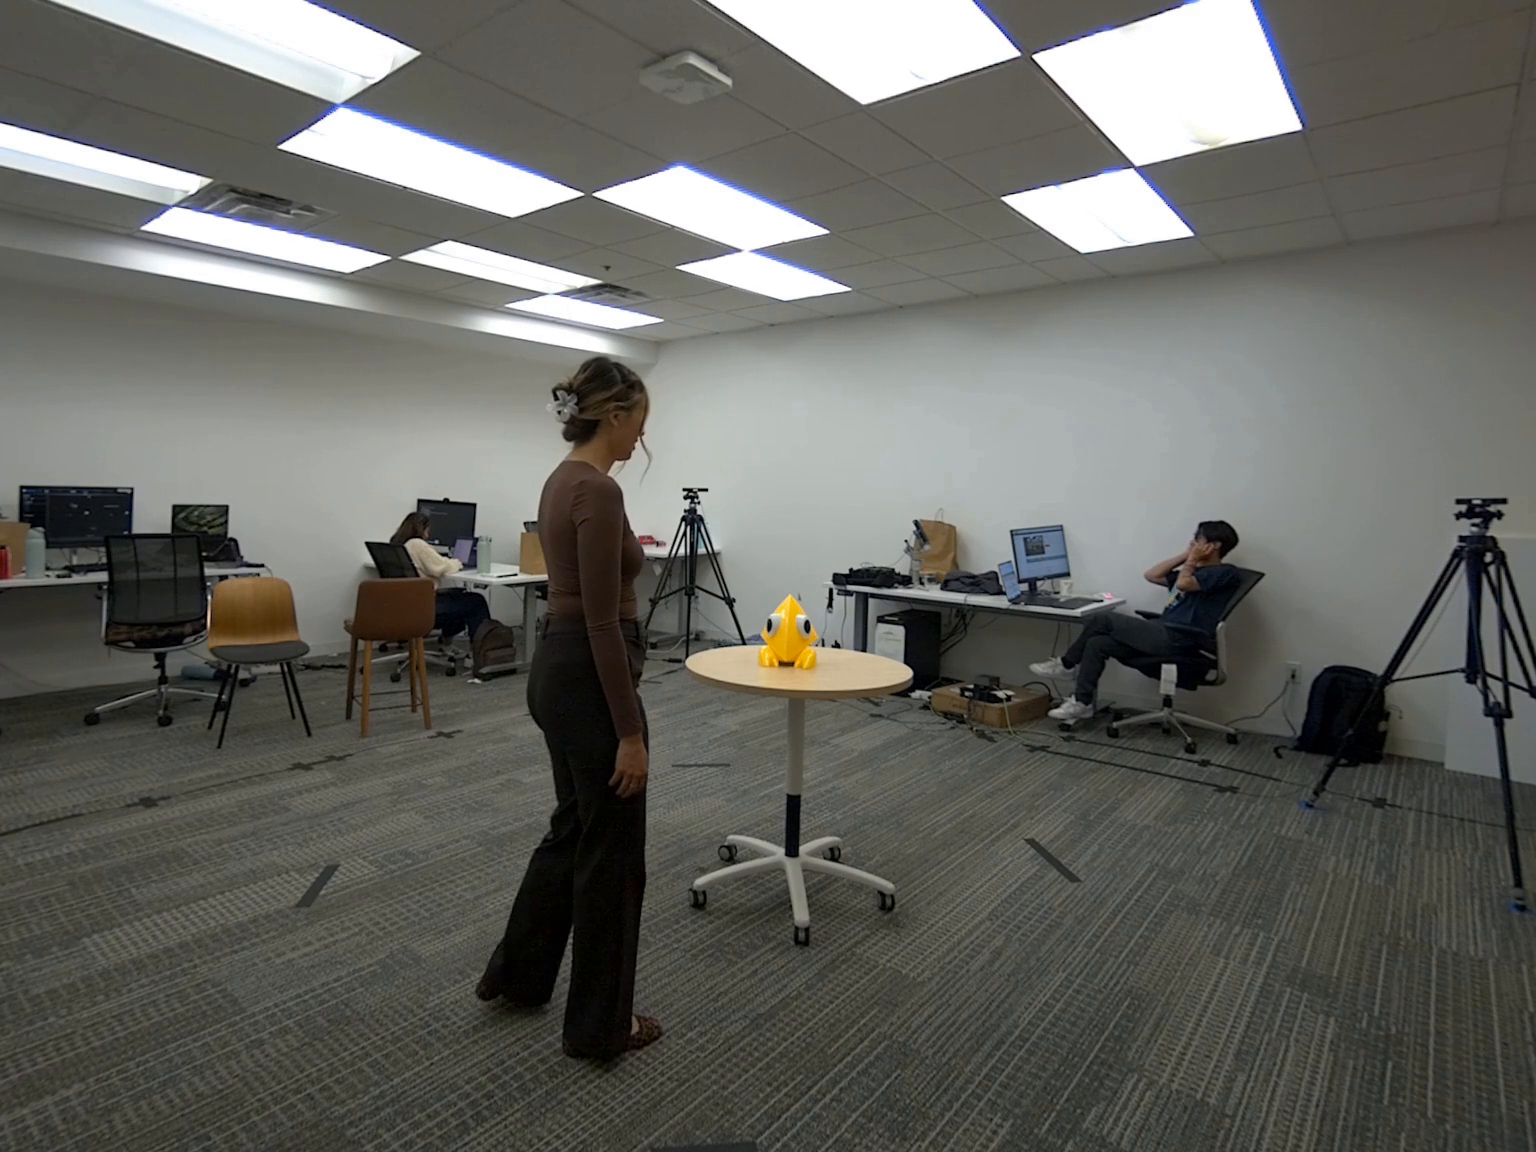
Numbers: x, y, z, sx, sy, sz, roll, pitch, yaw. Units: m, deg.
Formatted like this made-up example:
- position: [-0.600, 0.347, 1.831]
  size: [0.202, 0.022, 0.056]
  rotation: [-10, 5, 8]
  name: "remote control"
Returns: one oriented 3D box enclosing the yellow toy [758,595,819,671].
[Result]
- position: [0.063, 0.181, 2.913]
  size: [0.206, 0.230, 0.192]
  rotation: [2, 3, 6]
  name: "yellow toy"
